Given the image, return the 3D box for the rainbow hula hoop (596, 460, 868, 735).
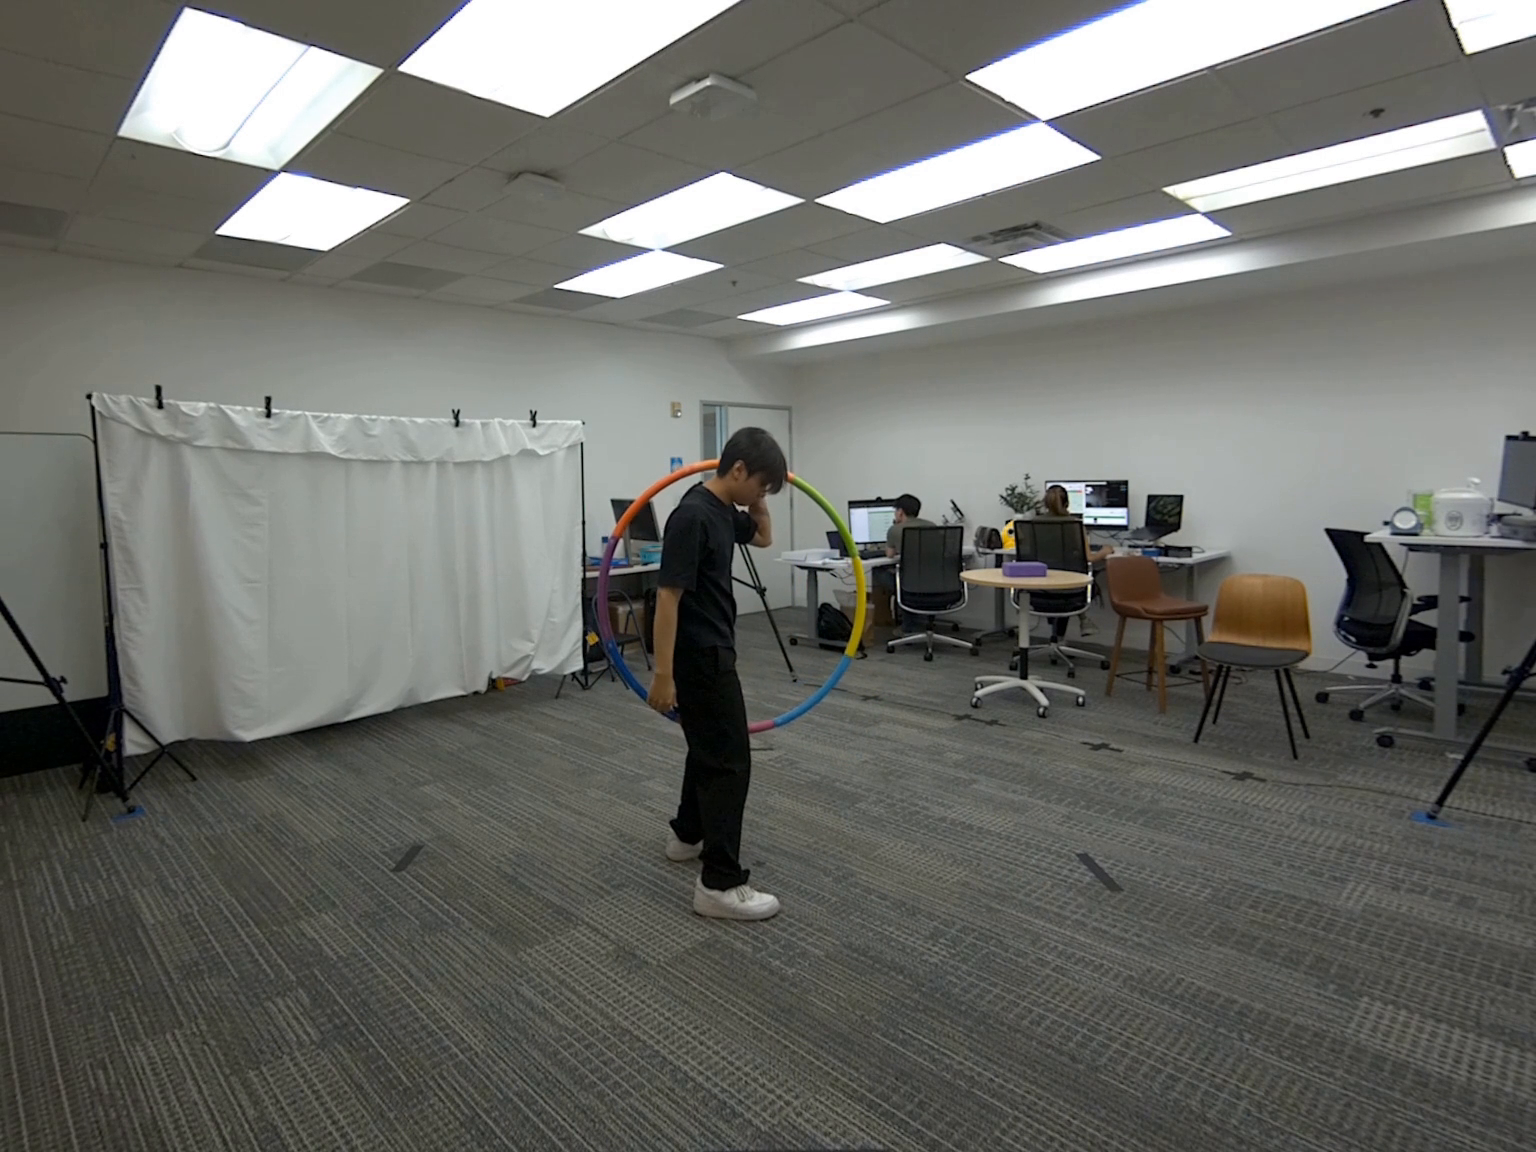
[{"bbox_3d":[-0.120,0.070,3.068,0.972,0.980,0.036,-2,-1,-7],"label":"rainbow hula hoop"}]
